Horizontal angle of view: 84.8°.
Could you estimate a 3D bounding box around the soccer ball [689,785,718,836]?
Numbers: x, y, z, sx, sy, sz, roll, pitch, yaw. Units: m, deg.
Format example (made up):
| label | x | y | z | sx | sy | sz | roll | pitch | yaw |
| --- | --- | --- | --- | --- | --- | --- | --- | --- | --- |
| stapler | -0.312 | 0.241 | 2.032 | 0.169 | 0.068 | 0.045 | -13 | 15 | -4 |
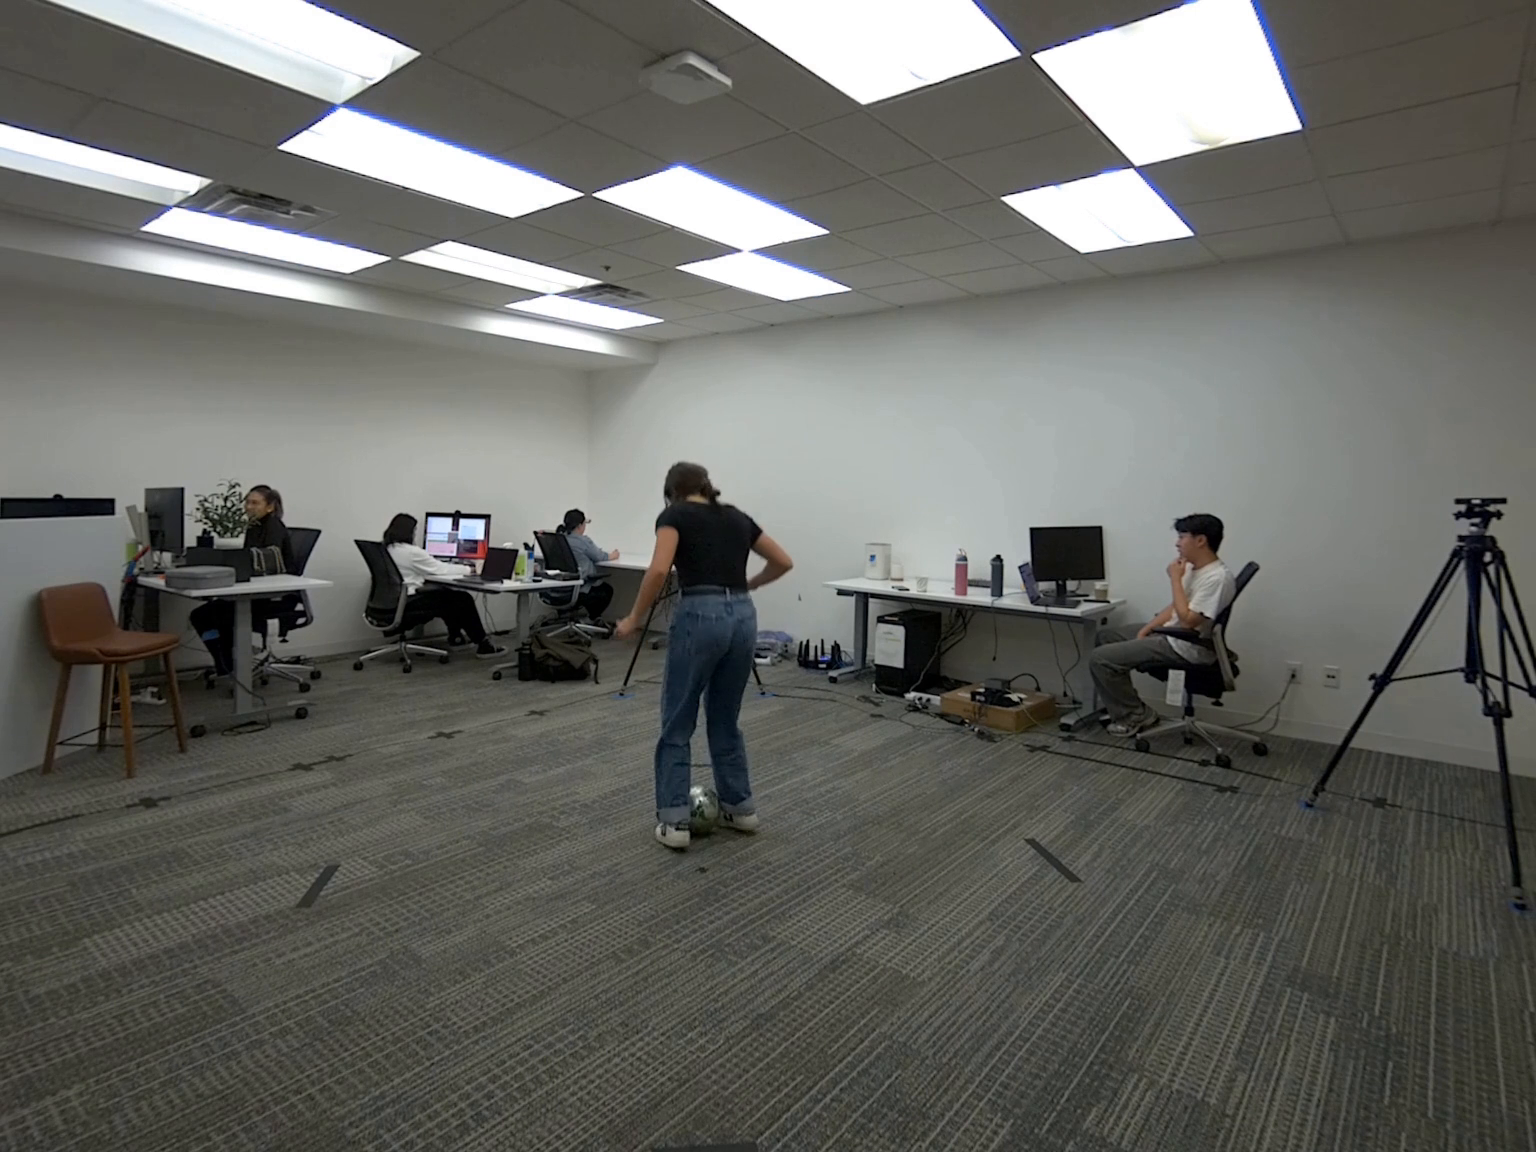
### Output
| label | x | y | z | sx | sy | sz | roll | pitch | yaw |
| --- | --- | --- | --- | --- | --- | --- | --- | --- | --- |
| soccer ball | -0.276 | 0.911 | 3.431 | 0.187 | 0.187 | 0.188 | 1 | 4 | -2 |
